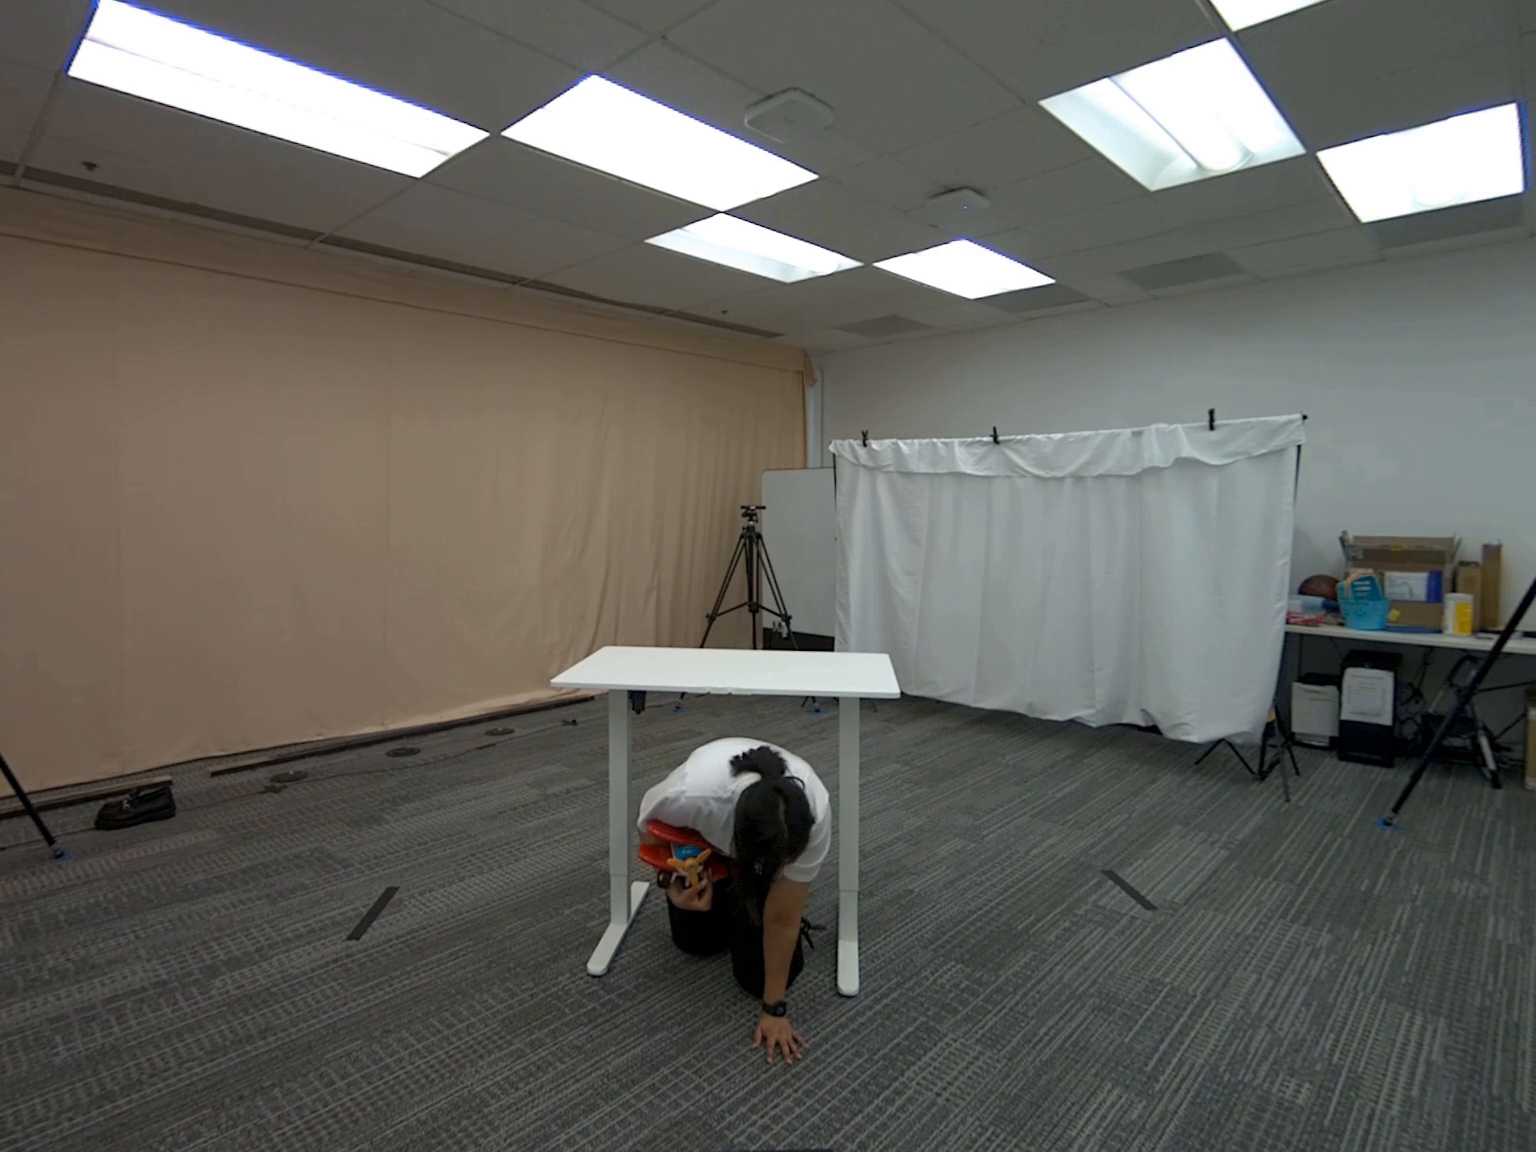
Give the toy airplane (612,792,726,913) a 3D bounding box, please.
[{"bbox_3d":[-0.238,0.734,2.327,0.243,0.156,0.268,3,30,-43],"label":"toy airplane"}]
